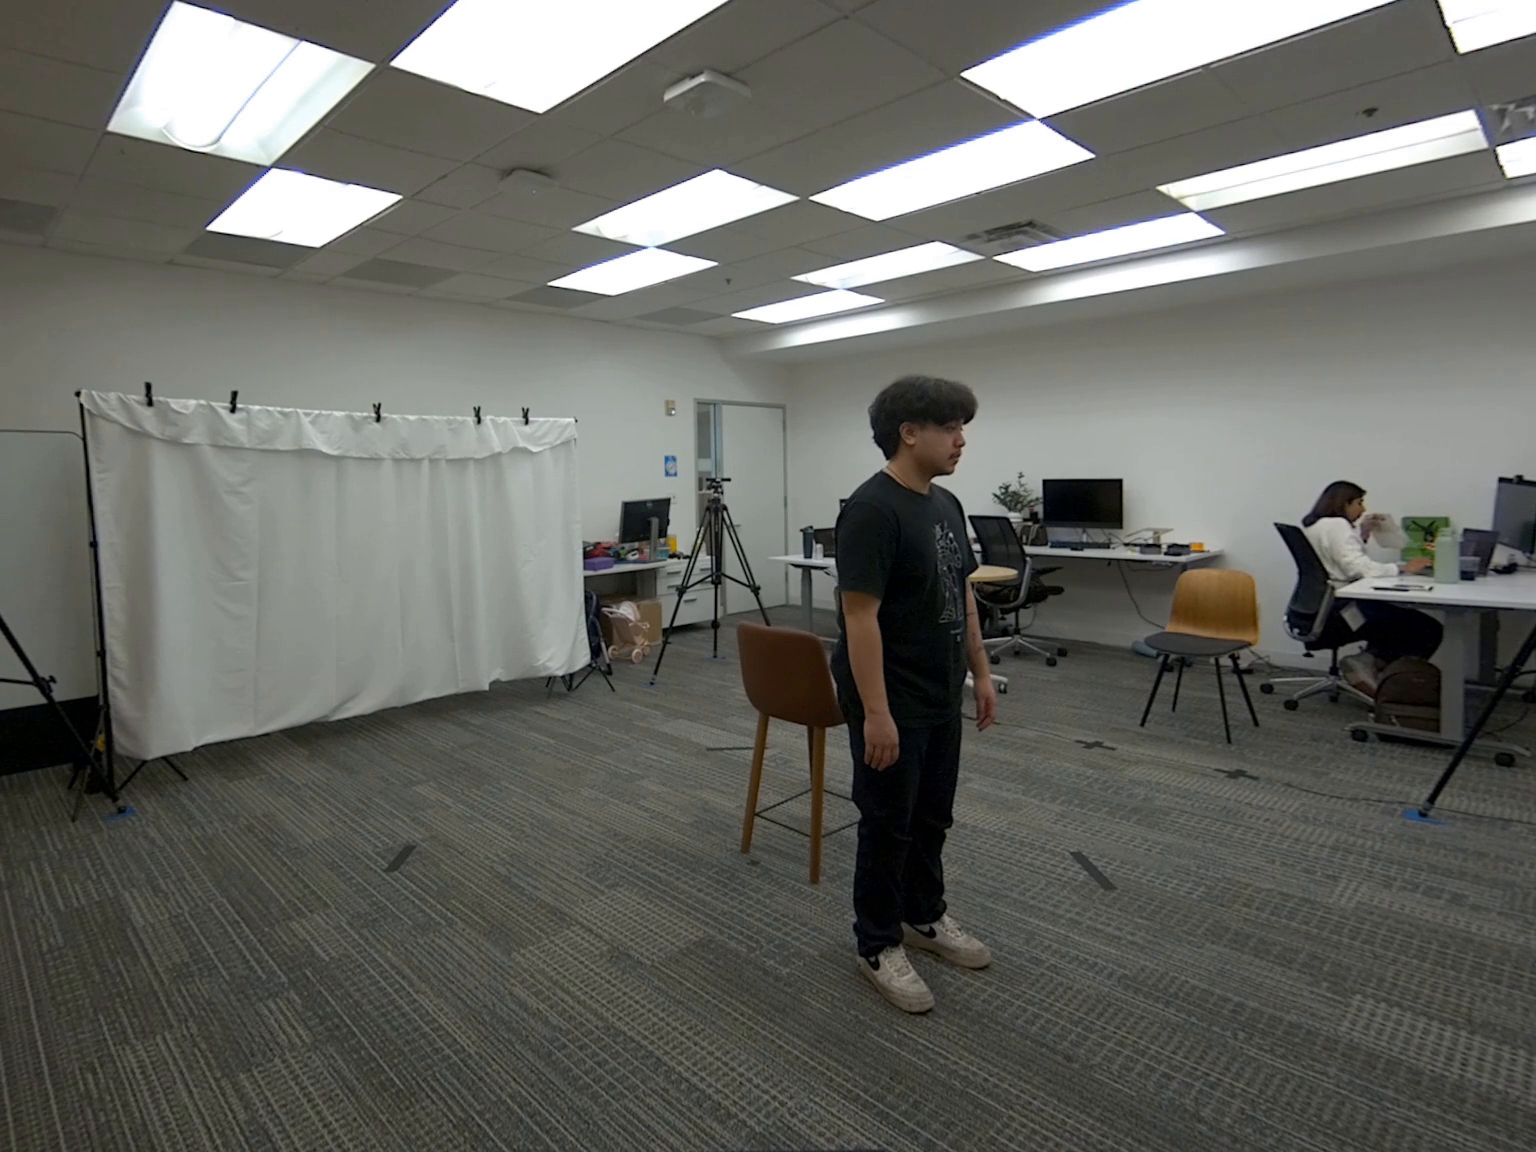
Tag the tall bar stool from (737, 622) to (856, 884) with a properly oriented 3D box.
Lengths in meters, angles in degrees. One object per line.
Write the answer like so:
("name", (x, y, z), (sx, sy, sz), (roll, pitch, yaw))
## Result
("tall bar stool", (0.173, 0.595, 3.189), (0.455, 0.885, 0.471), (-7, 7, -44))
